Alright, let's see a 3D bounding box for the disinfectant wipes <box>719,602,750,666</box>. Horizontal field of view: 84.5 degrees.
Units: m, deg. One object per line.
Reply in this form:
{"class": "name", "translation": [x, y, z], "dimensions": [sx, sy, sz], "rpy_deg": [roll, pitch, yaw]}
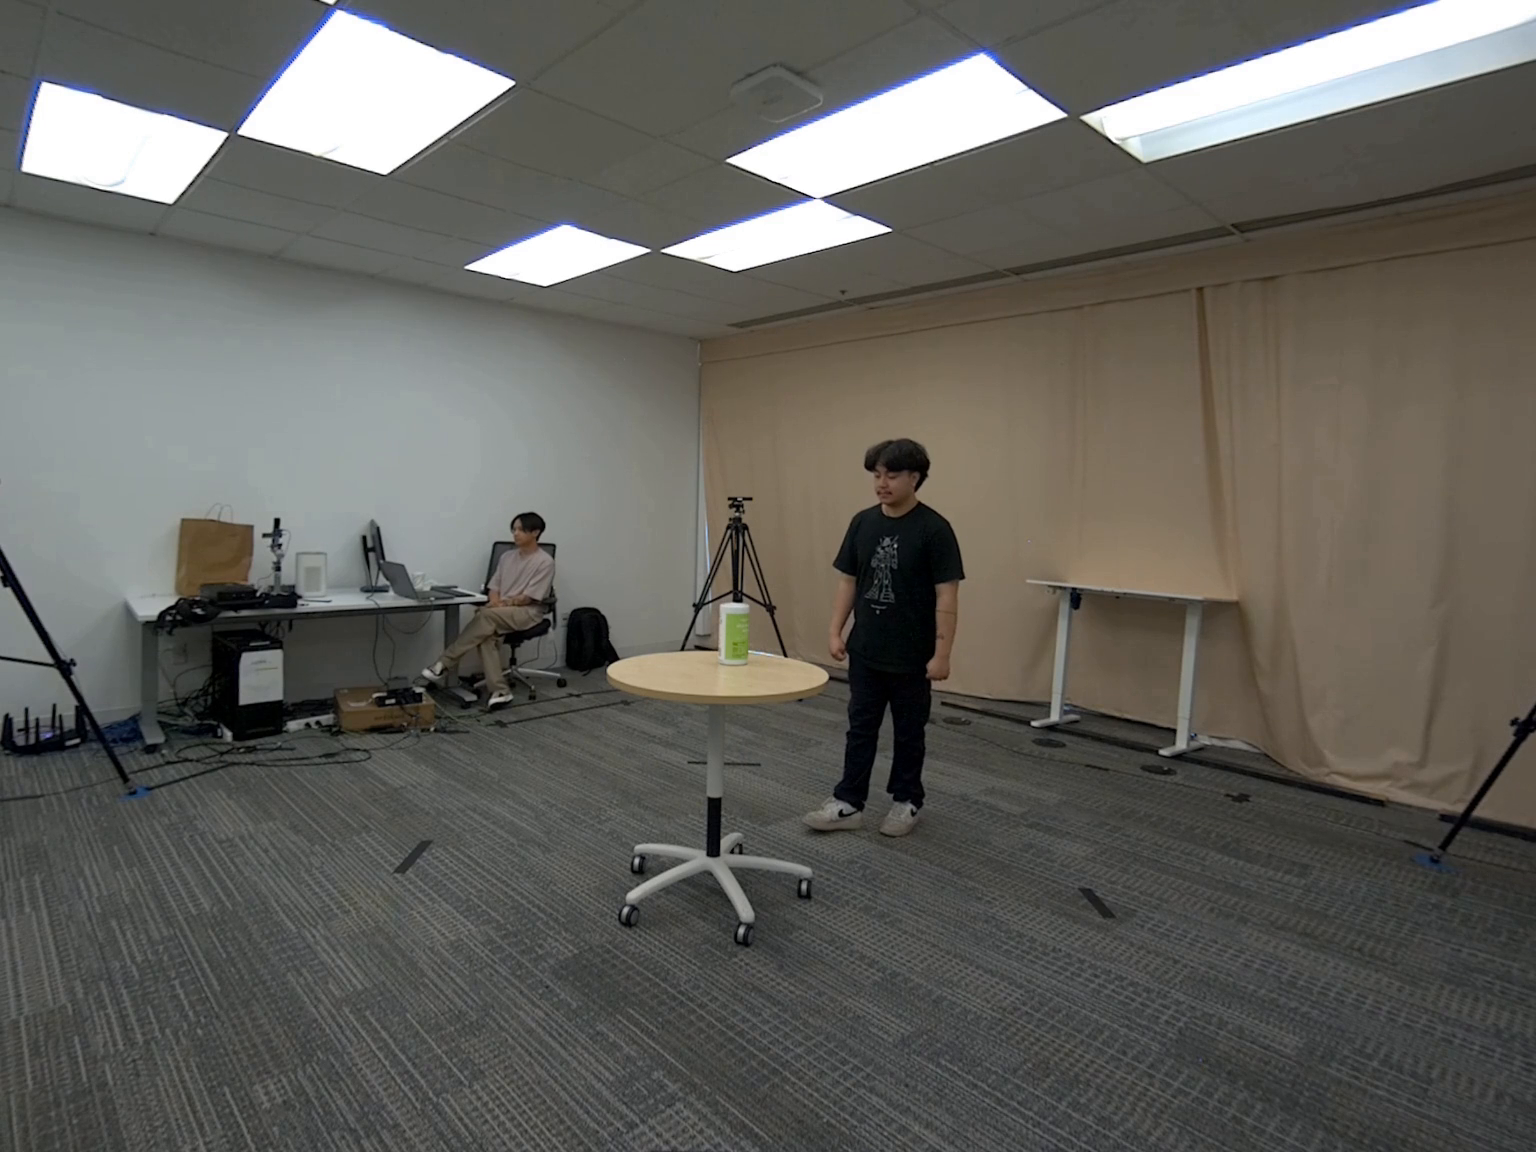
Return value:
{"class": "disinfectant wipes", "translation": [-0.133, 0.212, 3.065], "dimensions": [0.118, 0.217, 0.118], "rpy_deg": [3, 2, -2]}
